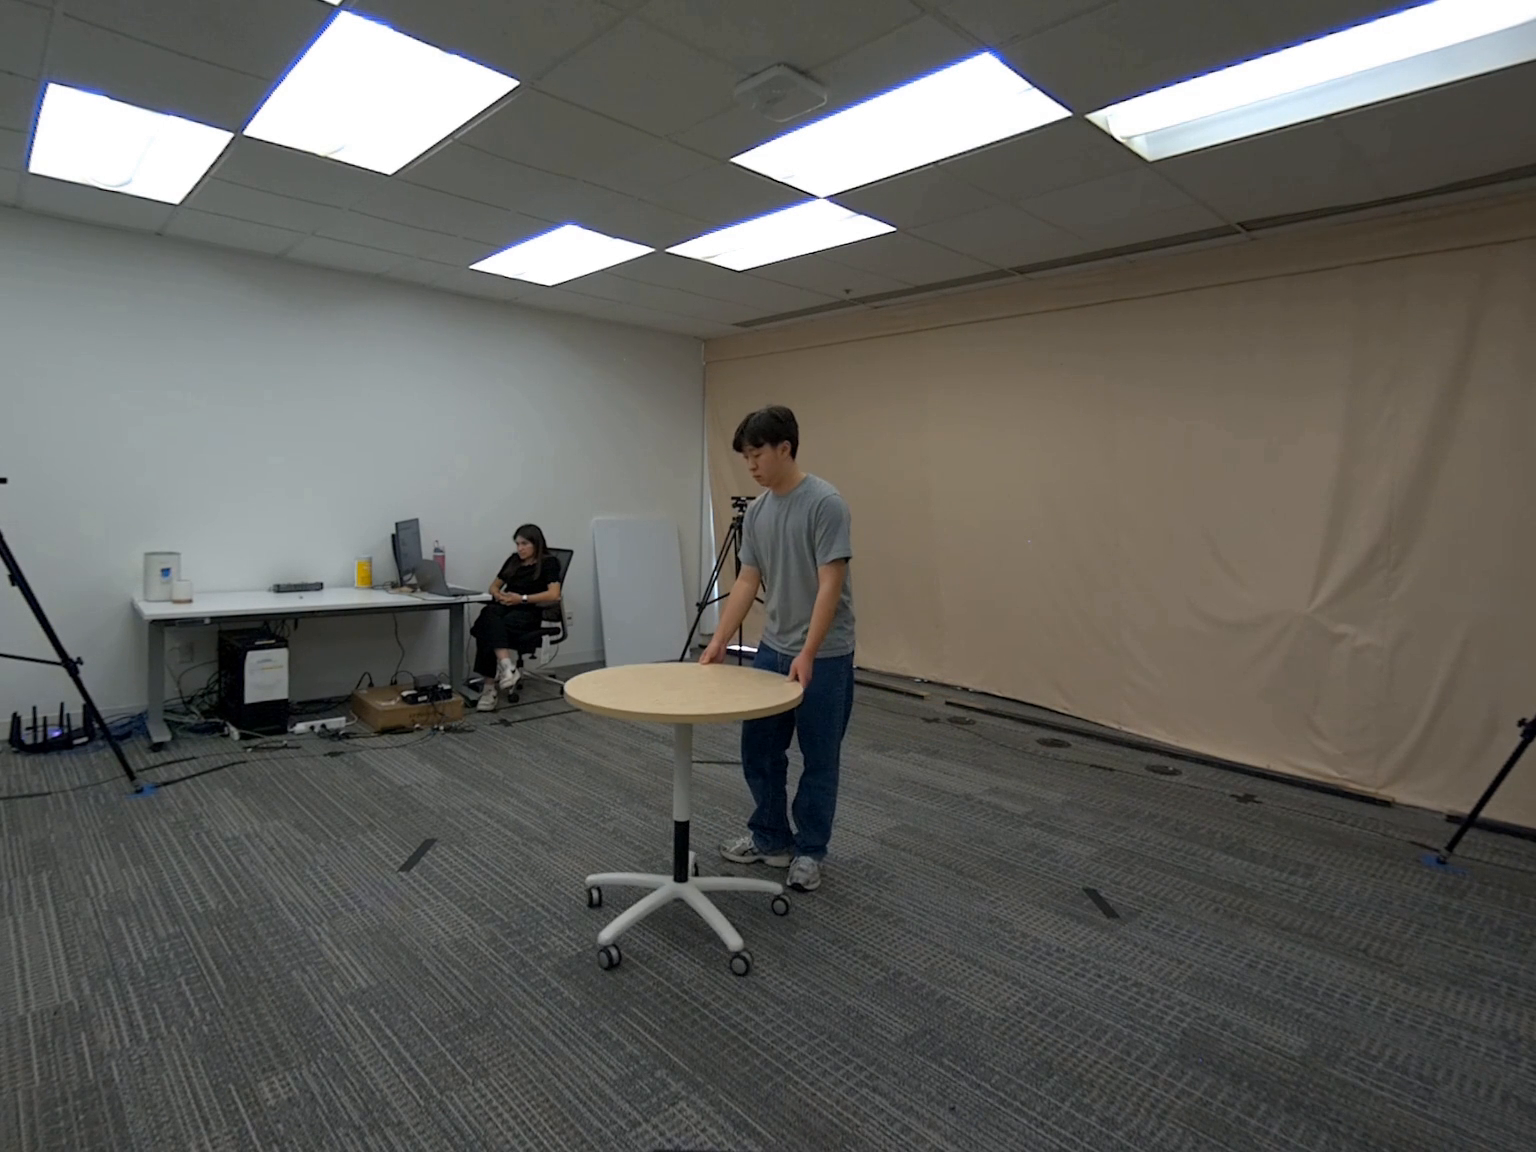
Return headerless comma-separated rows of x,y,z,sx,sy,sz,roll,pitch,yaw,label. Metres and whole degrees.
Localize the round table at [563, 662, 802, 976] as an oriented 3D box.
-0.283,0.747,2.736,0.763,0.792,0.766,1,4,-1,round table
